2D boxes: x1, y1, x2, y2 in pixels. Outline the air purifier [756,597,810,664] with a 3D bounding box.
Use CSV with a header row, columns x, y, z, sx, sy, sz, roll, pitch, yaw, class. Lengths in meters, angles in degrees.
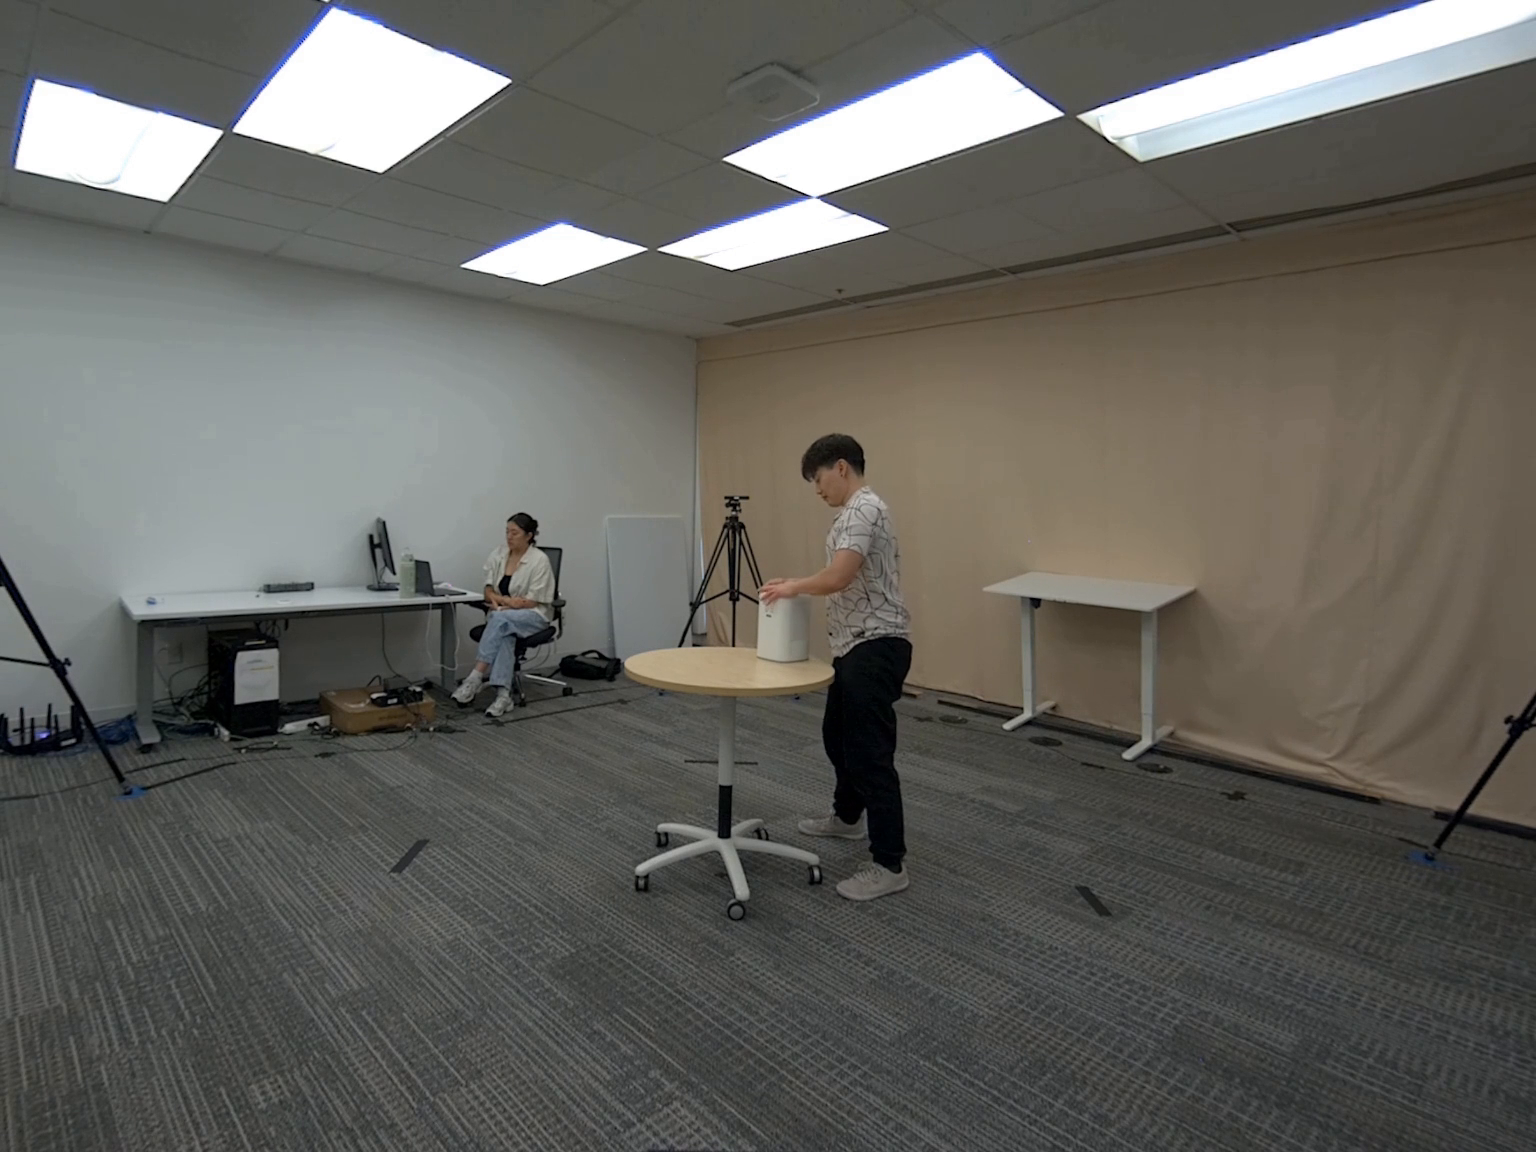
x,y,z,sx,sy,sz,roll,pitch,yaw,class
0.055,0.182,3.251,0.167,0.265,0.175,2,2,-43,air purifier
